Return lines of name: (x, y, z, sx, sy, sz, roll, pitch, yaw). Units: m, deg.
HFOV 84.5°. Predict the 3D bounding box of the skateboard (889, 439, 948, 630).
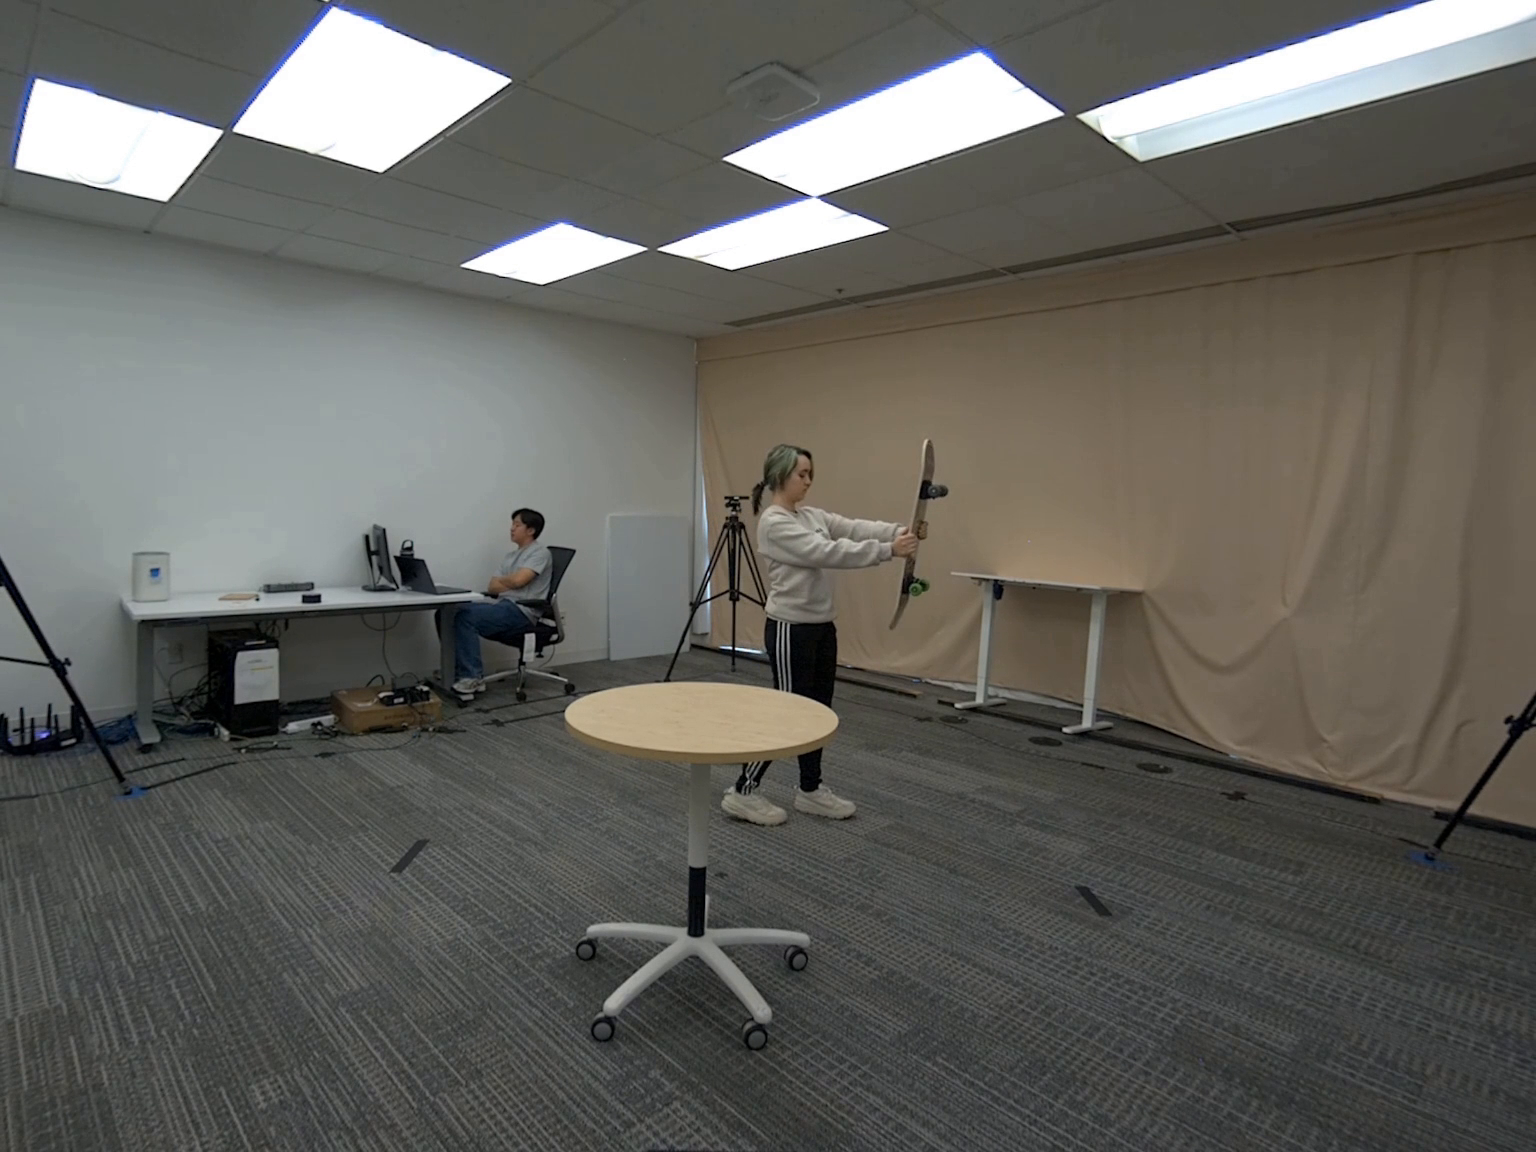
skateboard: (0.615, -0.151, 3.406, 0.112, 0.782, 0.190, 12, 8, 23)
